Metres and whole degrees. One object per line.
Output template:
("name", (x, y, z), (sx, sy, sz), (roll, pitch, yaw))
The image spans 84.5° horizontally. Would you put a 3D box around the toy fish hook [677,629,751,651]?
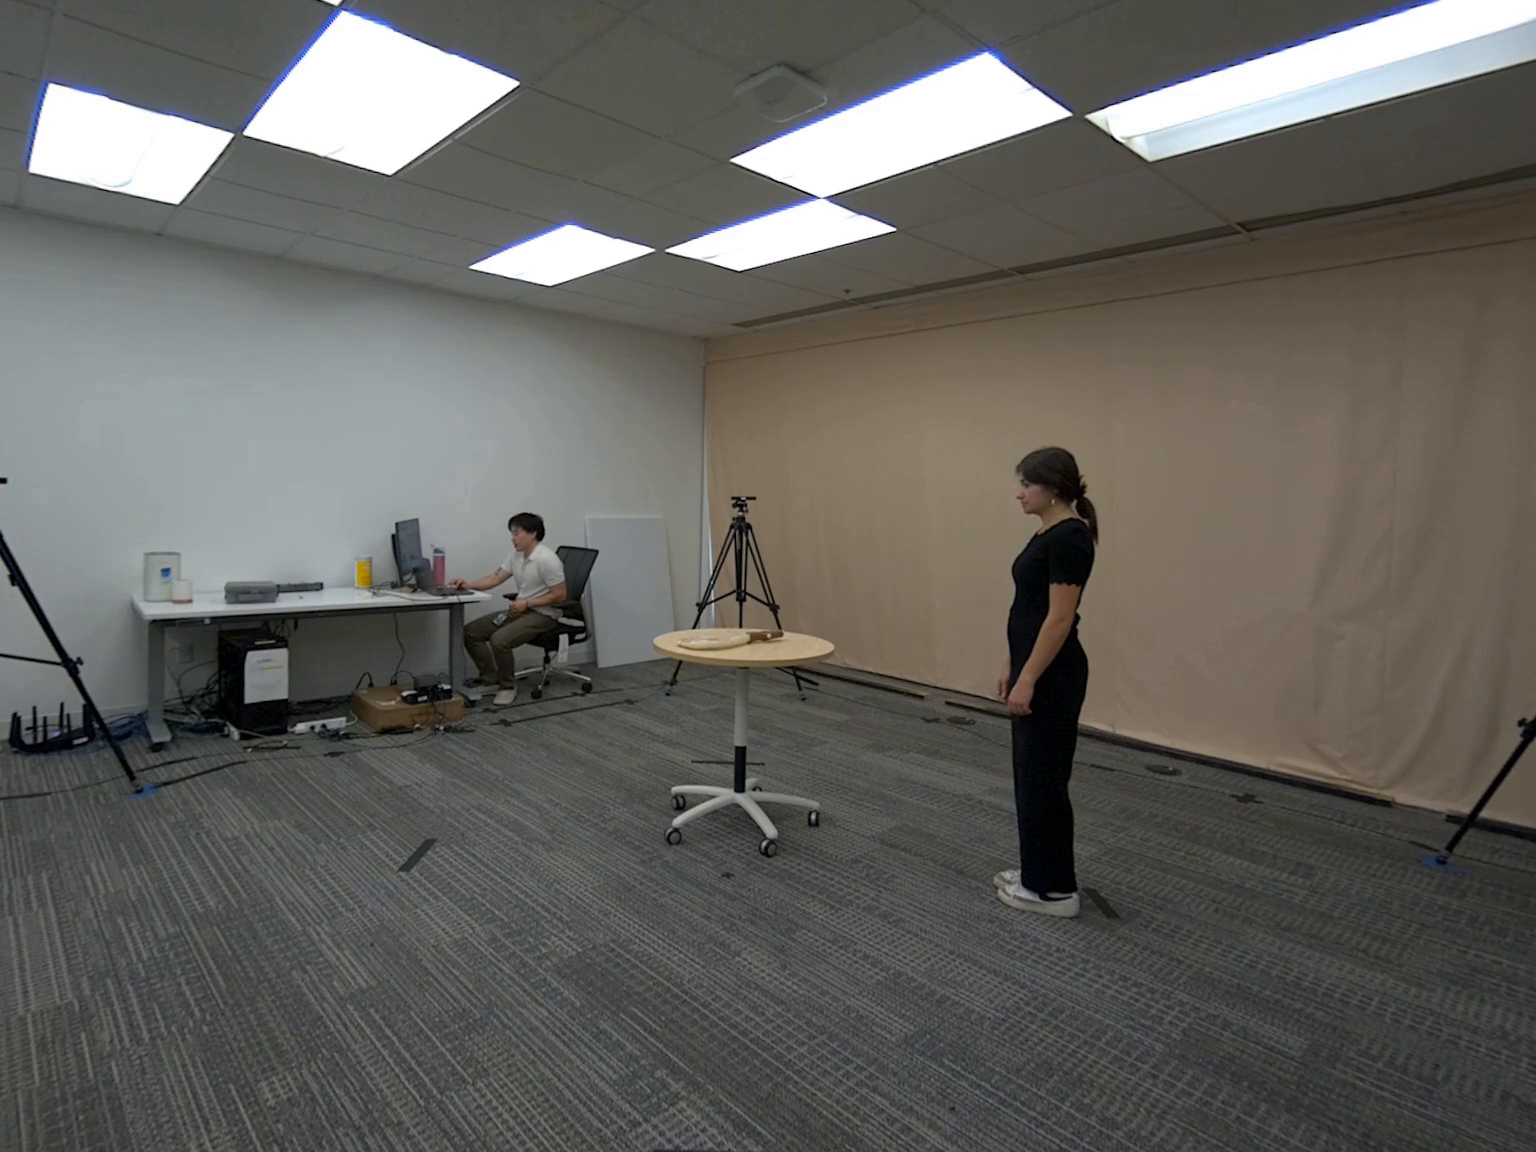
("toy fish hook", (-0.165, 0.260, 3.551), (0.495, 0.048, 0.231), (-4, 10, -38))
